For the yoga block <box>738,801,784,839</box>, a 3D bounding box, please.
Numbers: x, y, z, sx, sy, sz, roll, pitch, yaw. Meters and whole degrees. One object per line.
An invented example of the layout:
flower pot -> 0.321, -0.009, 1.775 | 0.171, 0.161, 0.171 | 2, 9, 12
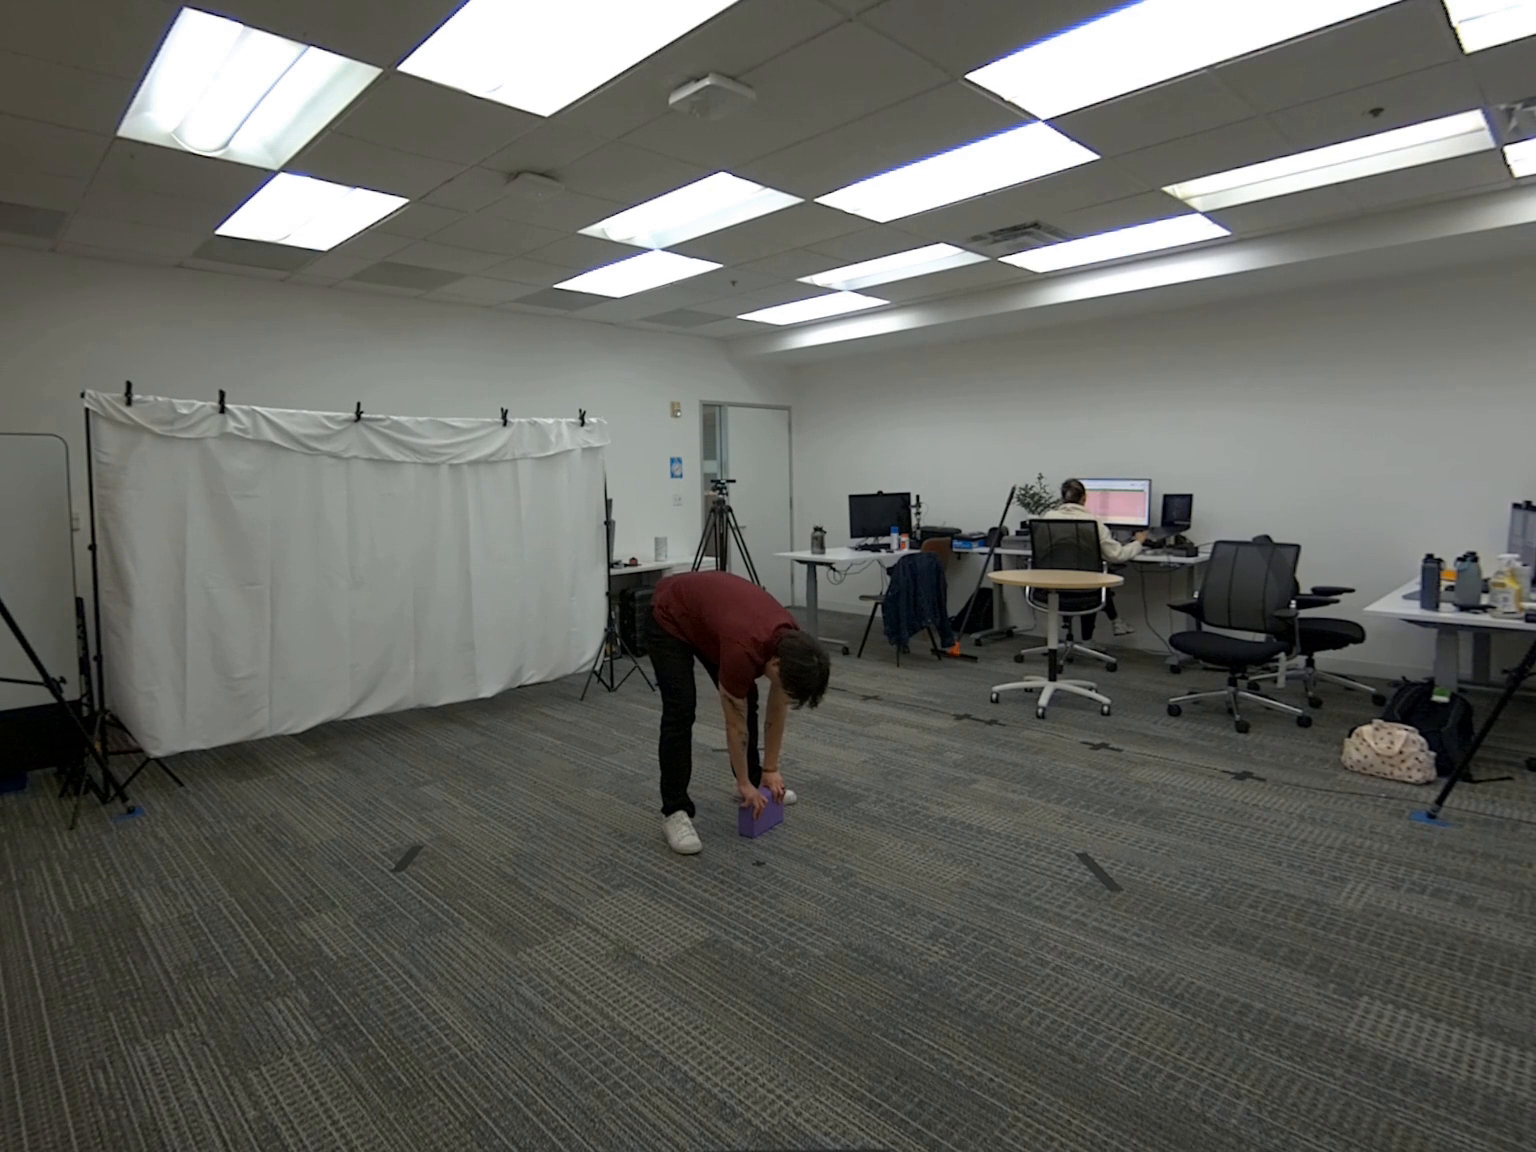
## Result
yoga block -> -0.038, 0.939, 3.434 | 0.078, 0.149, 0.224 | -4, 1, 33
